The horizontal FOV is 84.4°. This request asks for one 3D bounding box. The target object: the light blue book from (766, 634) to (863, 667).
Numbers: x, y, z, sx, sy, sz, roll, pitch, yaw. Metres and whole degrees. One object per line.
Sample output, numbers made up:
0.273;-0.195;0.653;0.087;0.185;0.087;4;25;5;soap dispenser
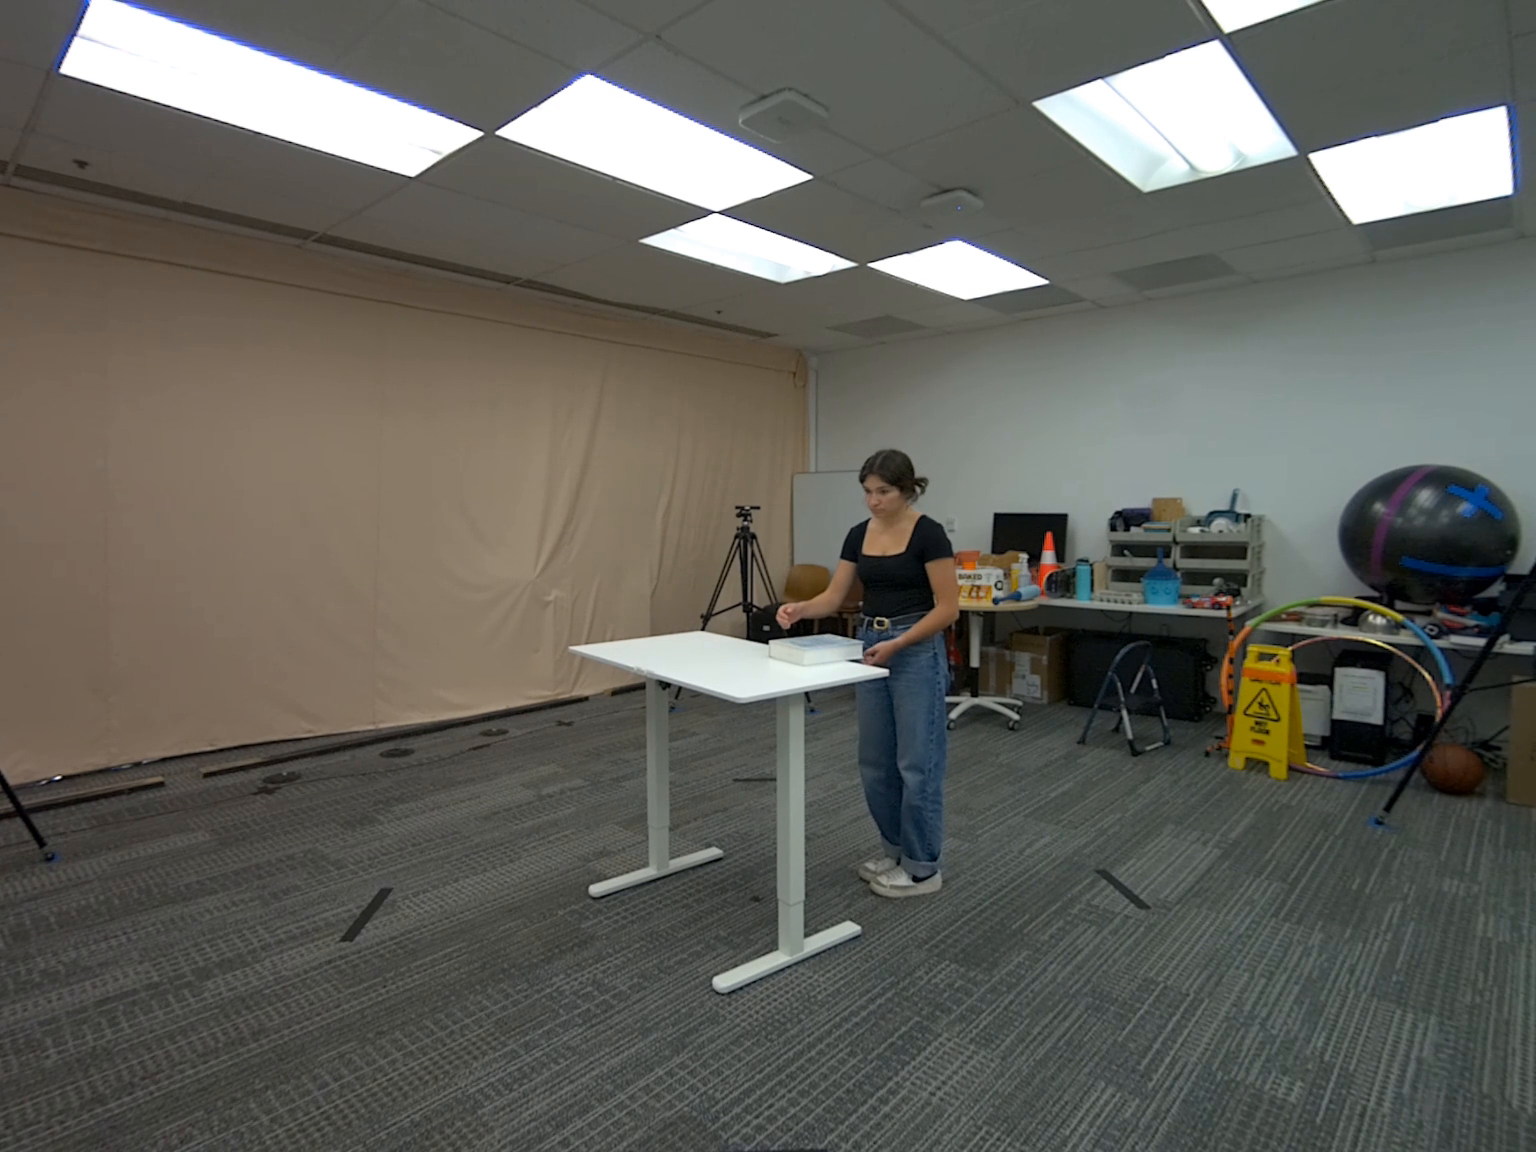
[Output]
0.164;0.247;2.823;0.253;0.059;0.197;-3;7;-36;light blue book
